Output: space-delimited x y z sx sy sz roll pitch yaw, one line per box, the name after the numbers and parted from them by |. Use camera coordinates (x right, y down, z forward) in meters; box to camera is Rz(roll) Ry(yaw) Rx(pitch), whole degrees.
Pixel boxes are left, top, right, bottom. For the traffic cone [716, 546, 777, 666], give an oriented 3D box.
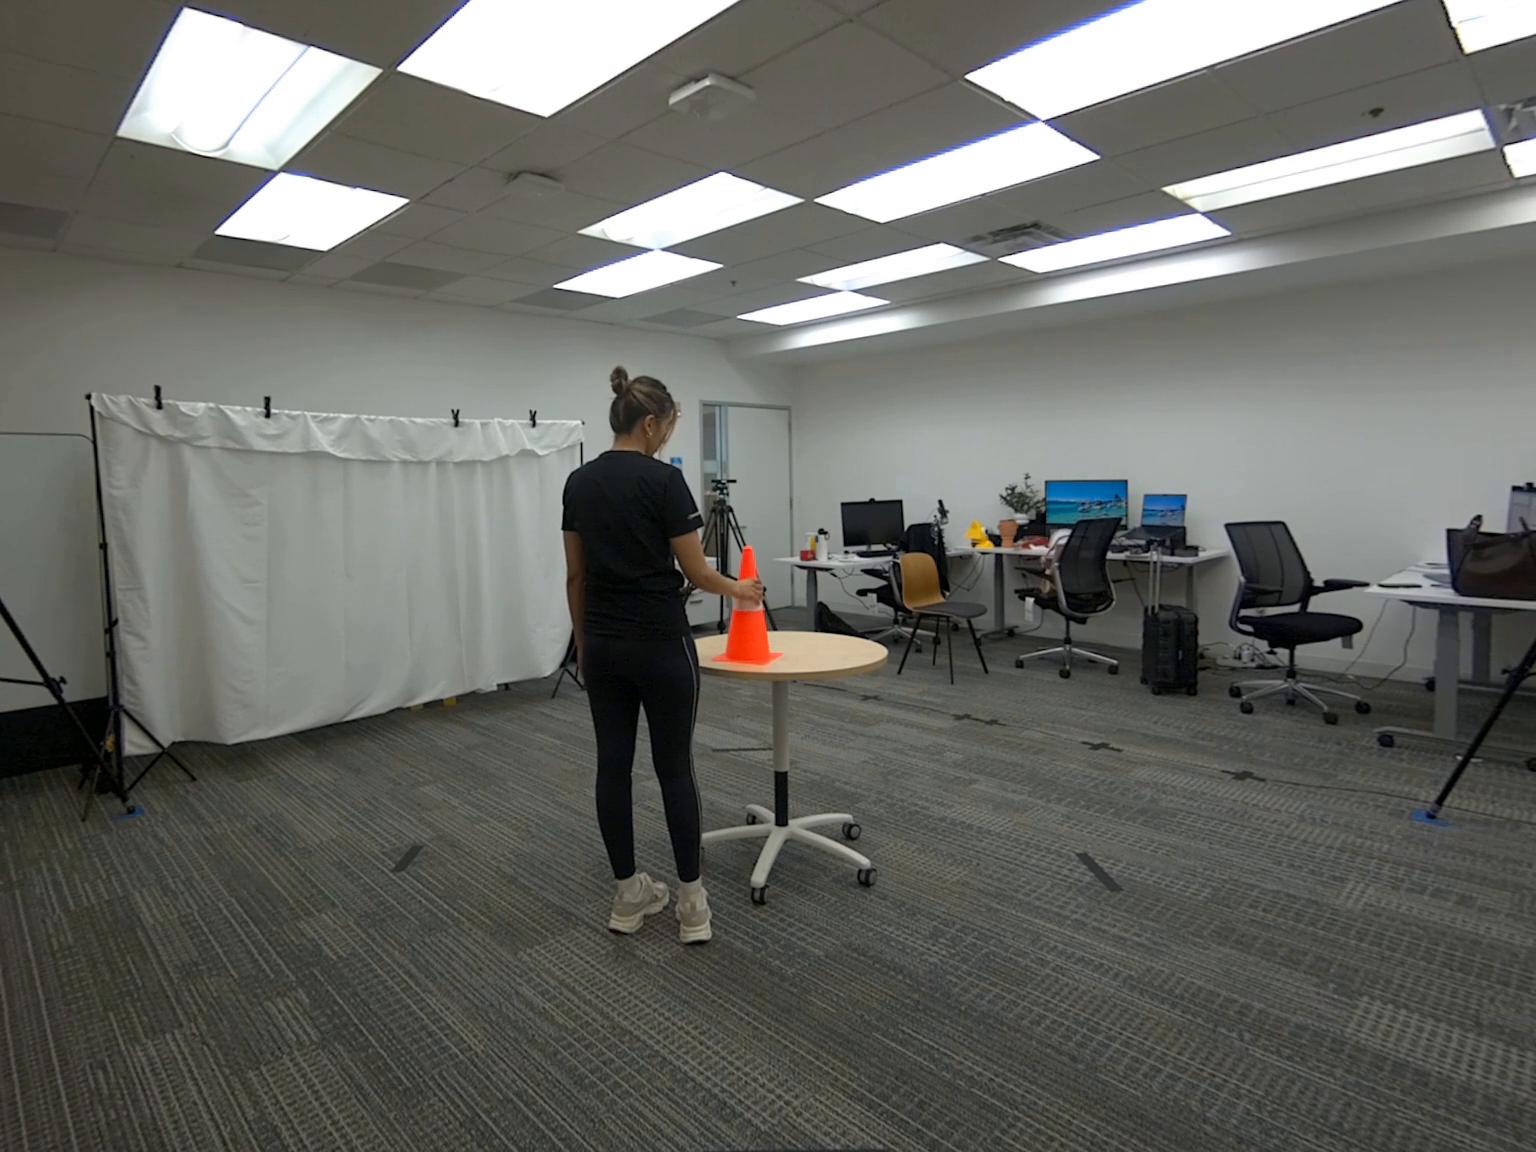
-0.070 0.094 2.925 0.207 0.382 0.202 1 5 19 | traffic cone
